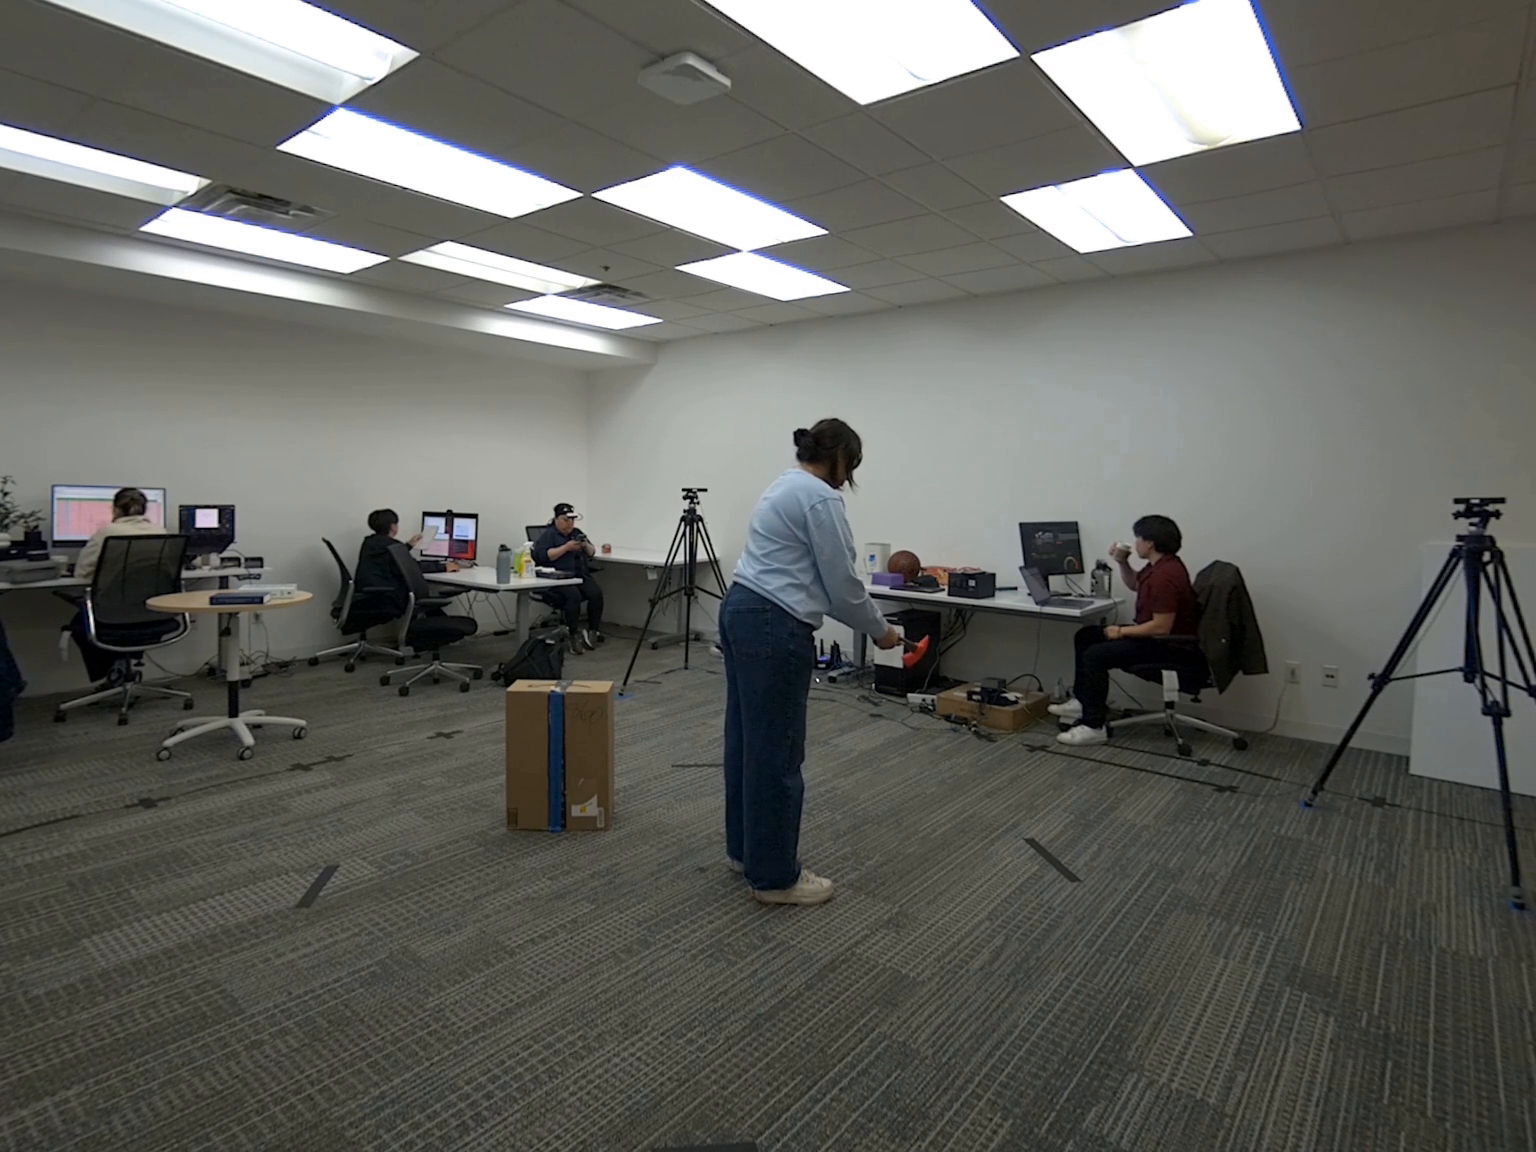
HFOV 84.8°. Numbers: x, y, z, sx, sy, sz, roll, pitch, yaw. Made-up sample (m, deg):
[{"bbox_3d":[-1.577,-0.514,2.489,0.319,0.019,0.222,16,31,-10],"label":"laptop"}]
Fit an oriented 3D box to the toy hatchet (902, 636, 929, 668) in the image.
[{"bbox_3d":[0.456,0.267,3.103,0.262,0.130,0.031,7,20,-29],"label":"toy hatchet"}]
